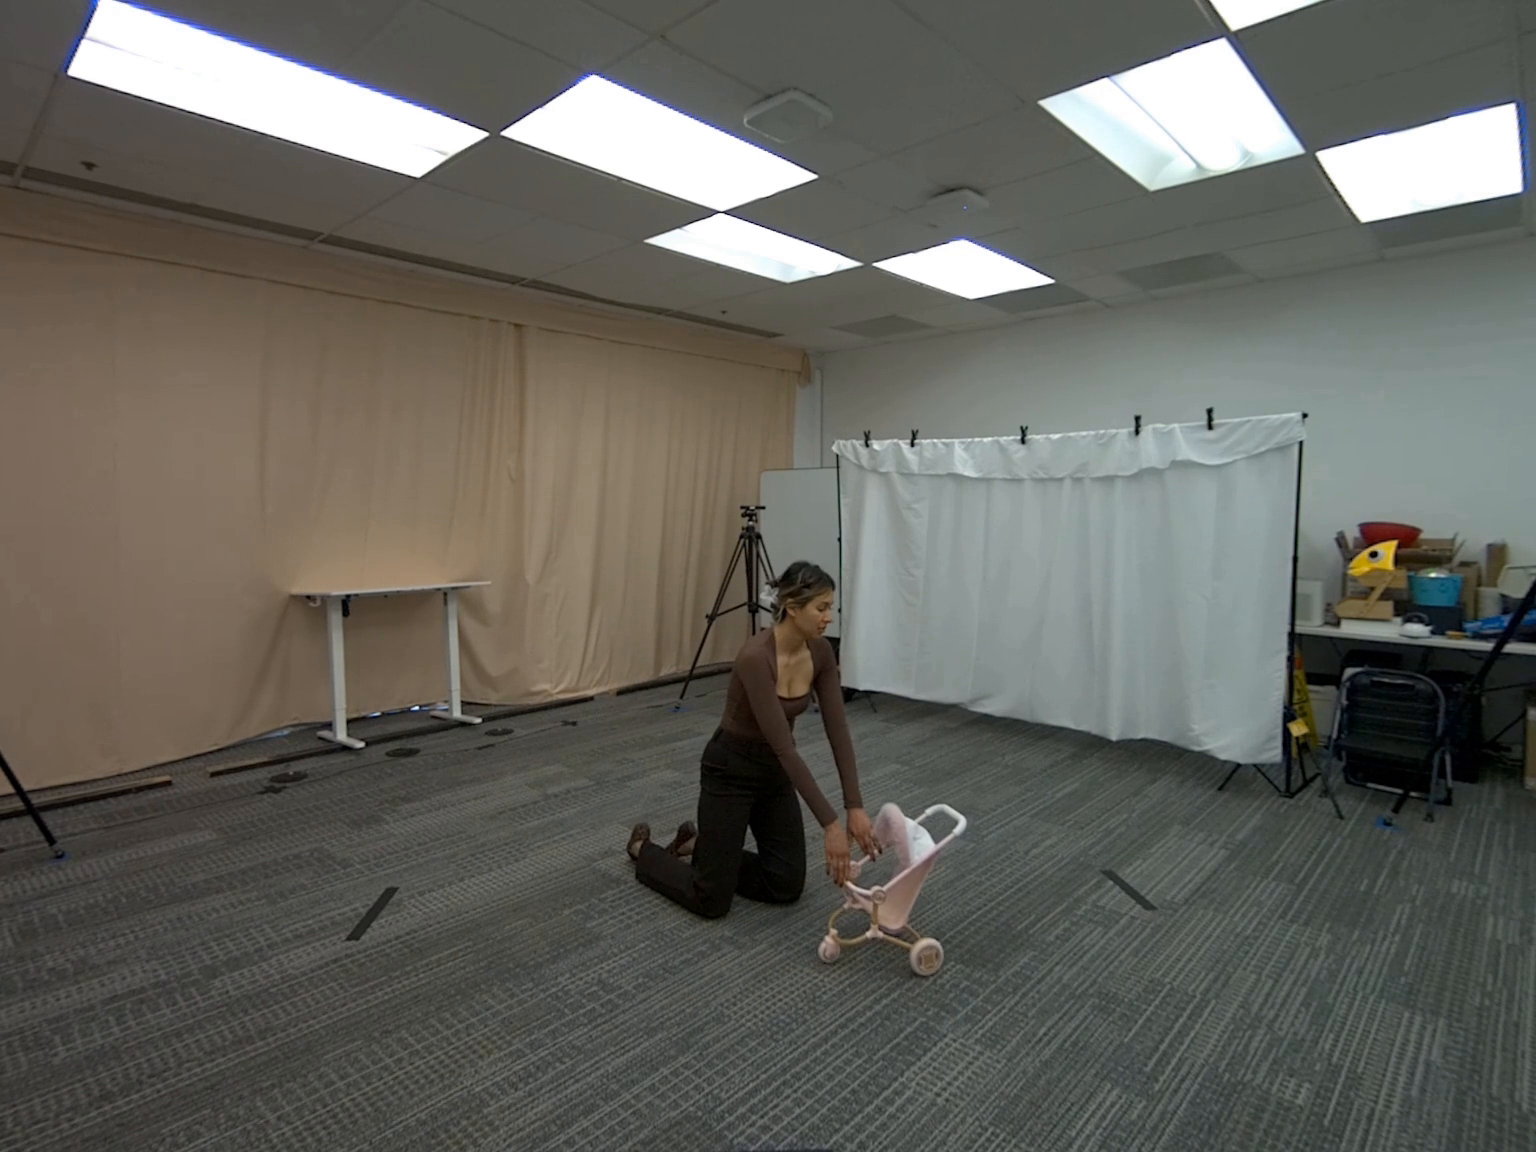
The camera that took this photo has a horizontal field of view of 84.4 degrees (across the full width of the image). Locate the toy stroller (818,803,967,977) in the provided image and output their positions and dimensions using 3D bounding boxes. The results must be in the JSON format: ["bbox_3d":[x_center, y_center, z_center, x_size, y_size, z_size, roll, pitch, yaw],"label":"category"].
[{"bbox_3d":[0.366,0.943,2.604,0.338,0.535,0.284,15,-1,-10],"label":"toy stroller"}]
